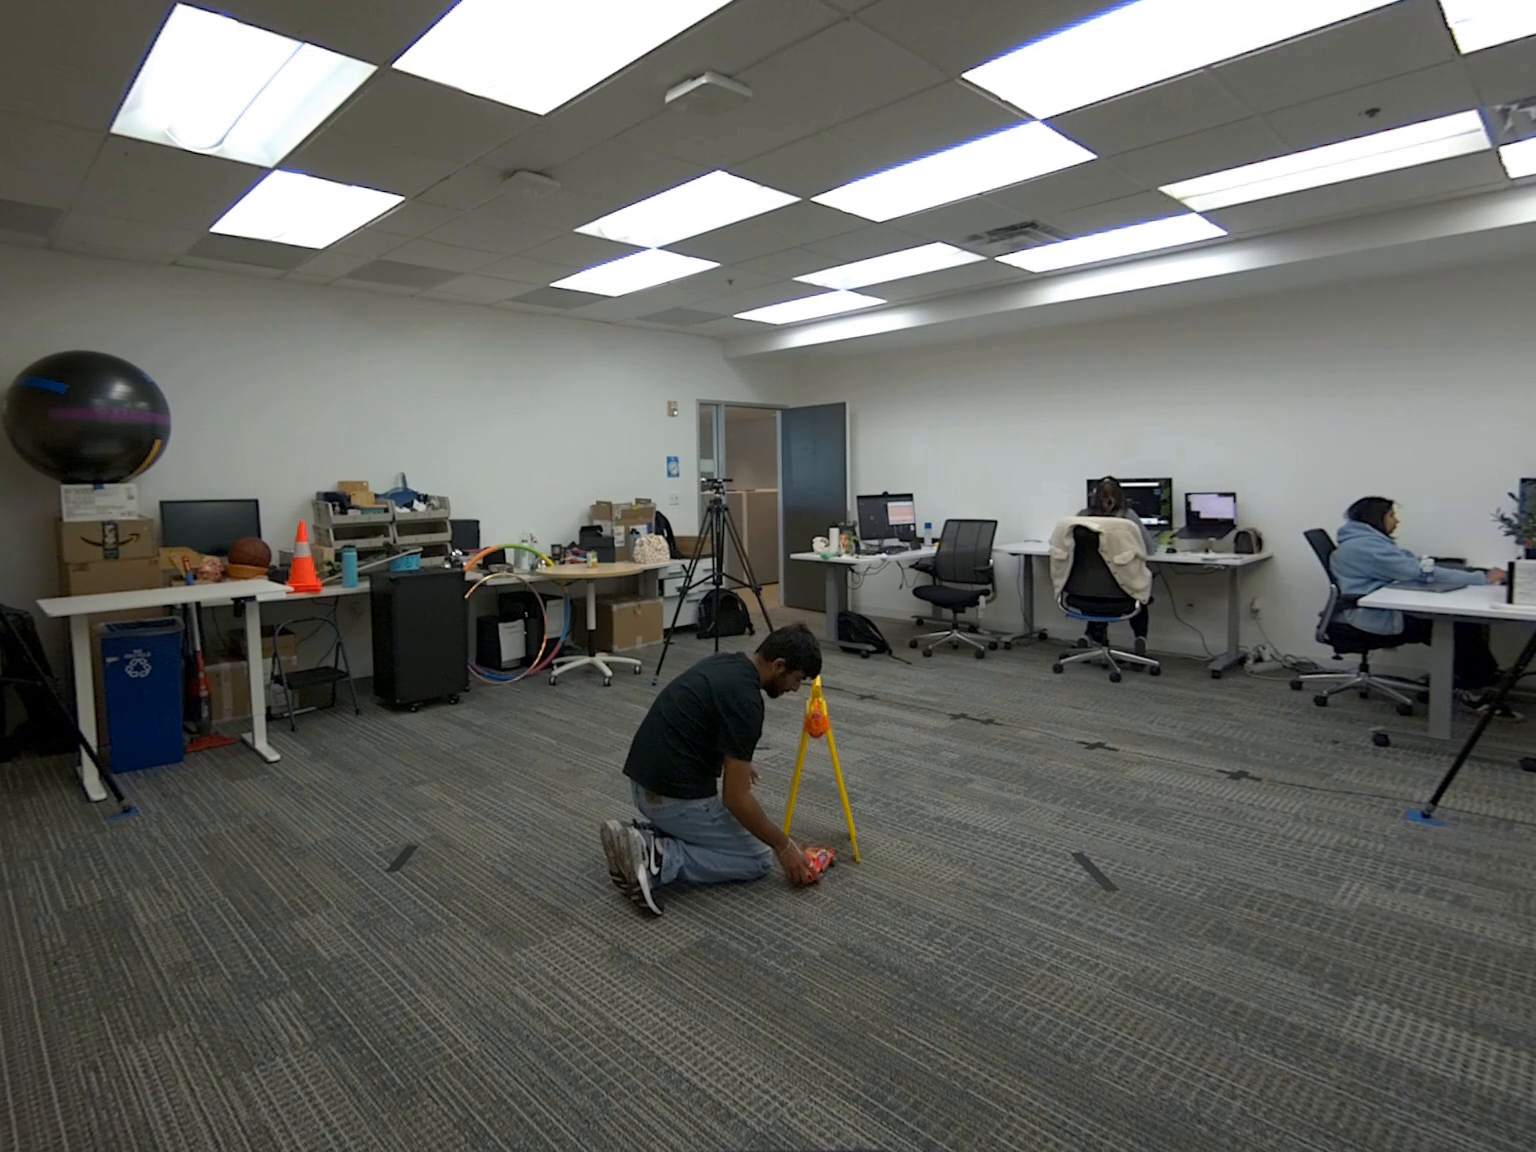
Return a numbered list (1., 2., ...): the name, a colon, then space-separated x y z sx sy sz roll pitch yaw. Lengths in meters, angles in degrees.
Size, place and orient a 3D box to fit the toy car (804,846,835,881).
1. toy car: 0.148 1.019 2.996 0.133 0.083 0.248 4 -4 23
